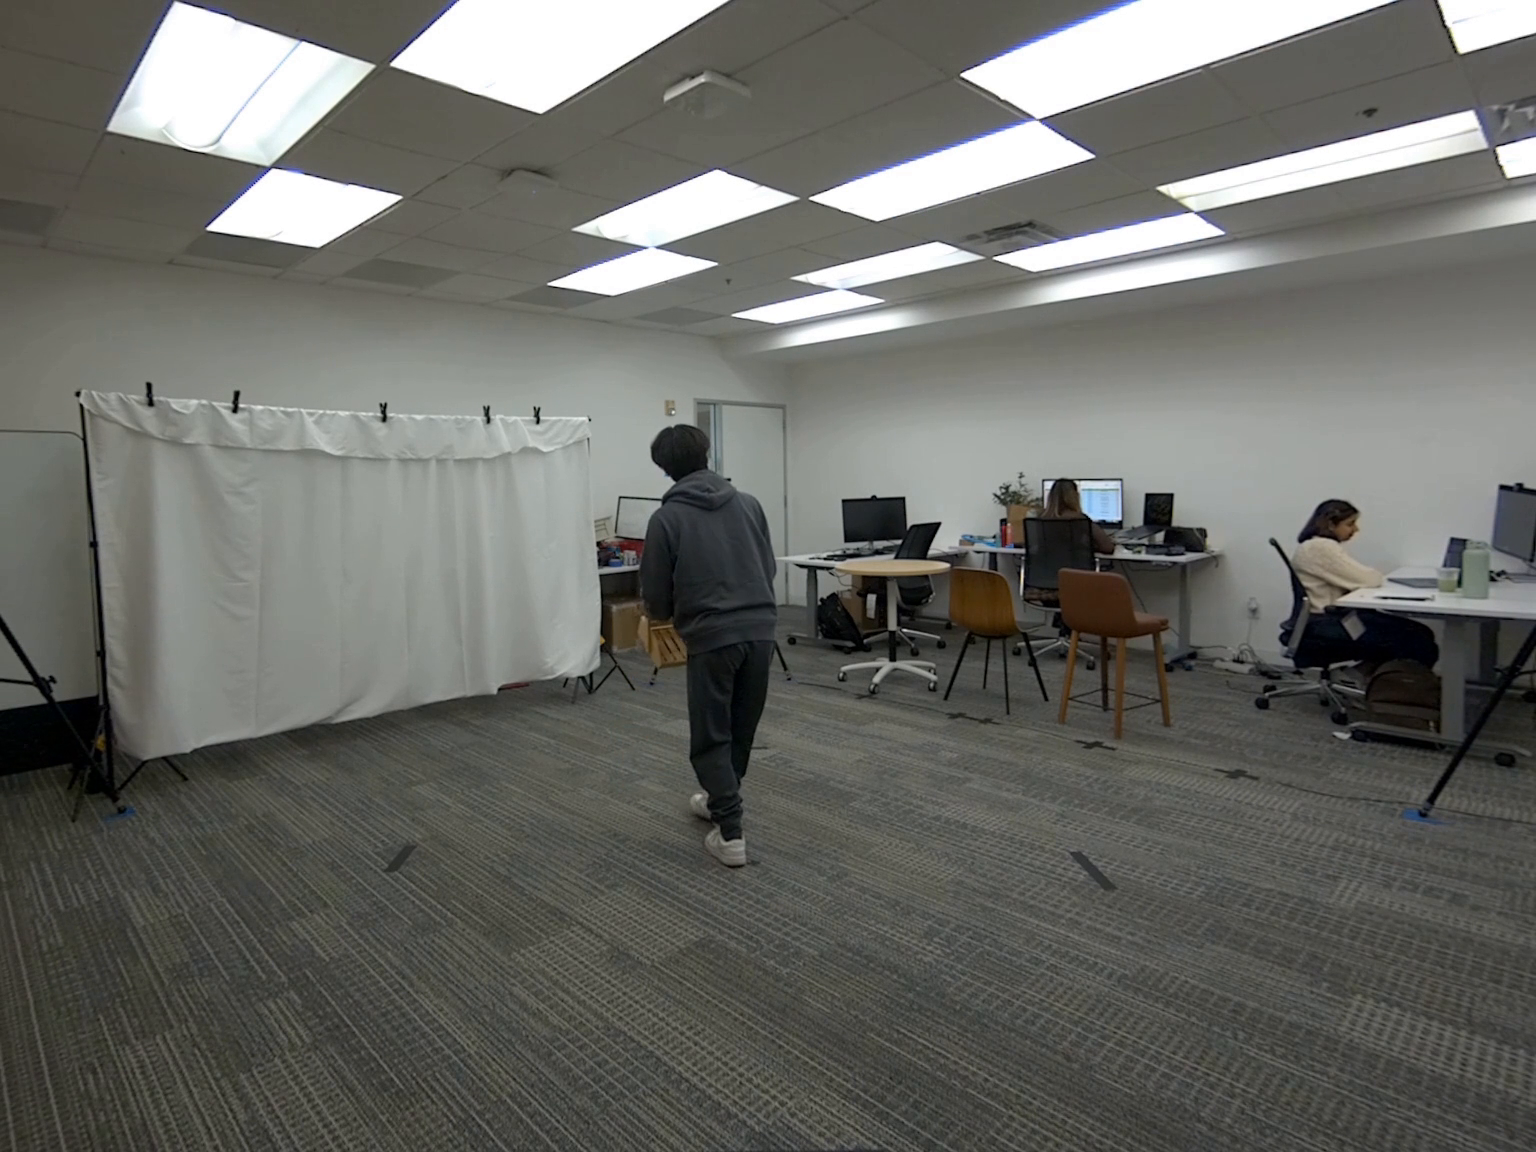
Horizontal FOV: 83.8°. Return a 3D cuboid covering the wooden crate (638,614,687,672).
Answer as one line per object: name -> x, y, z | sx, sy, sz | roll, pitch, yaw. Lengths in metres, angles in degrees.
wooden crate -> -0.343, 0.184, 3.548 | 0.317, 0.269, 0.314 | -5, 36, -30
